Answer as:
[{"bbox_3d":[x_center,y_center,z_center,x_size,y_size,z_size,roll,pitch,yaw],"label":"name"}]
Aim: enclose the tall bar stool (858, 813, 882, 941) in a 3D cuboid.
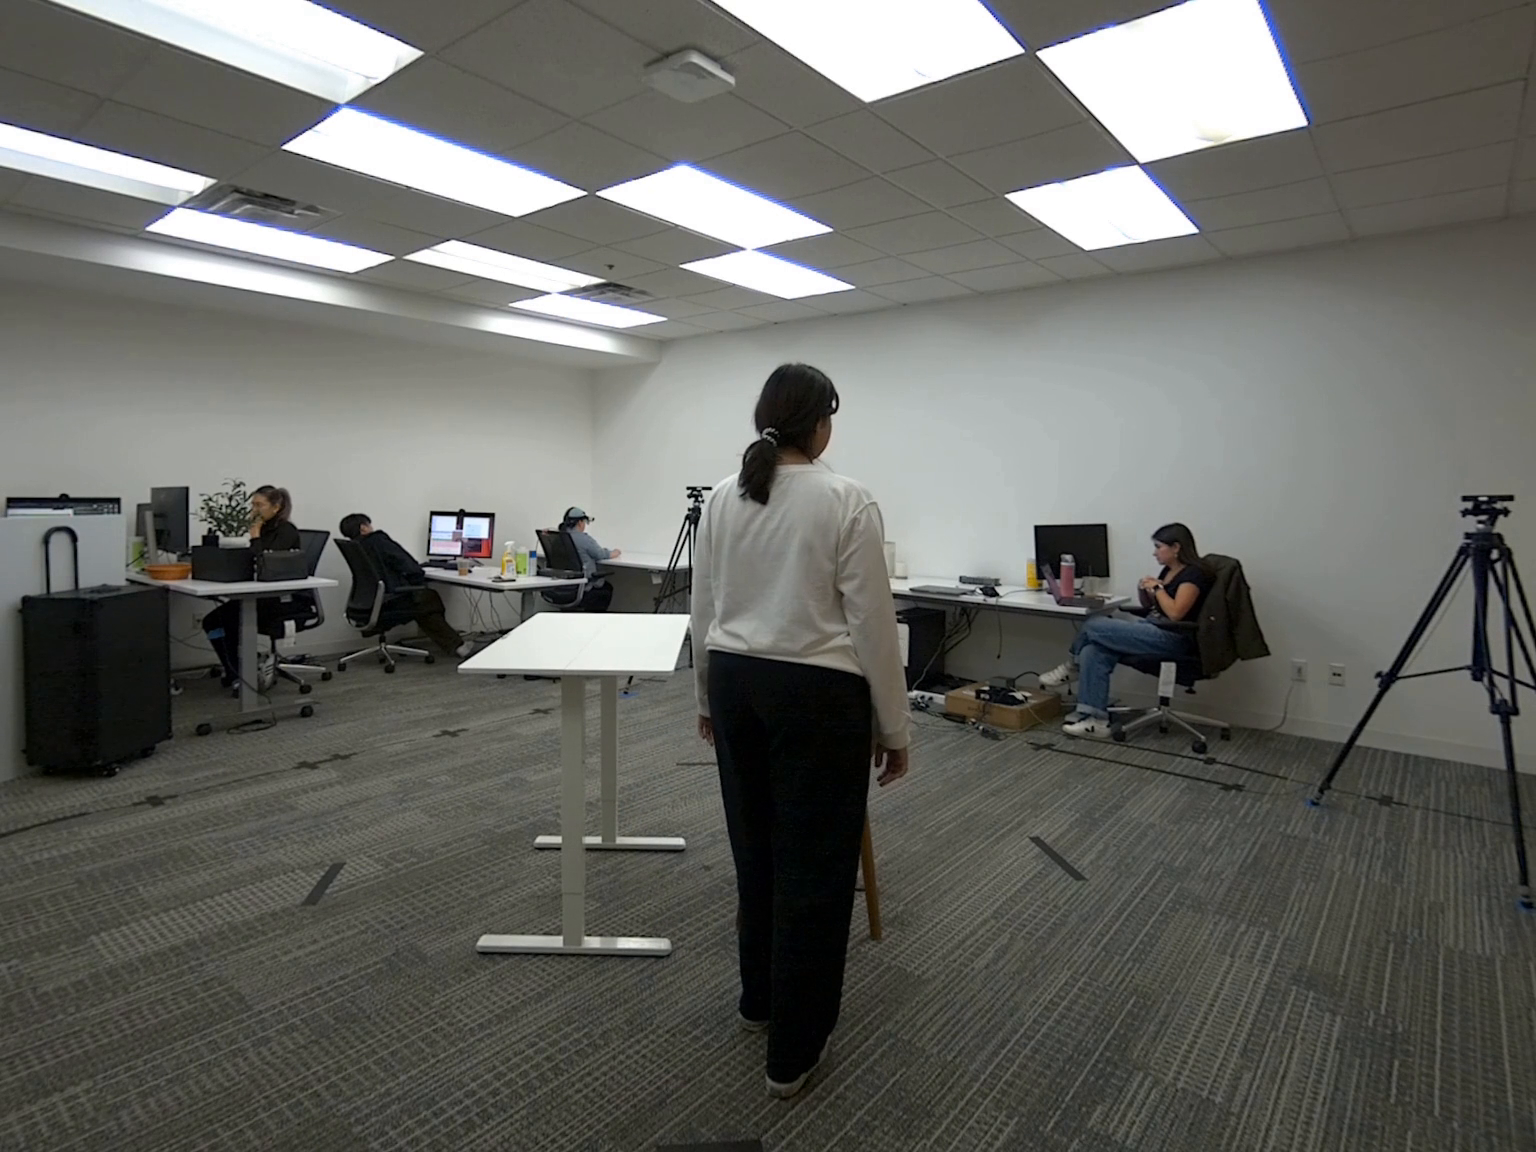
[{"bbox_3d":[0.160,0.667,2.820,0.472,0.887,0.454,4,4,7],"label":"tall bar stool"}]
